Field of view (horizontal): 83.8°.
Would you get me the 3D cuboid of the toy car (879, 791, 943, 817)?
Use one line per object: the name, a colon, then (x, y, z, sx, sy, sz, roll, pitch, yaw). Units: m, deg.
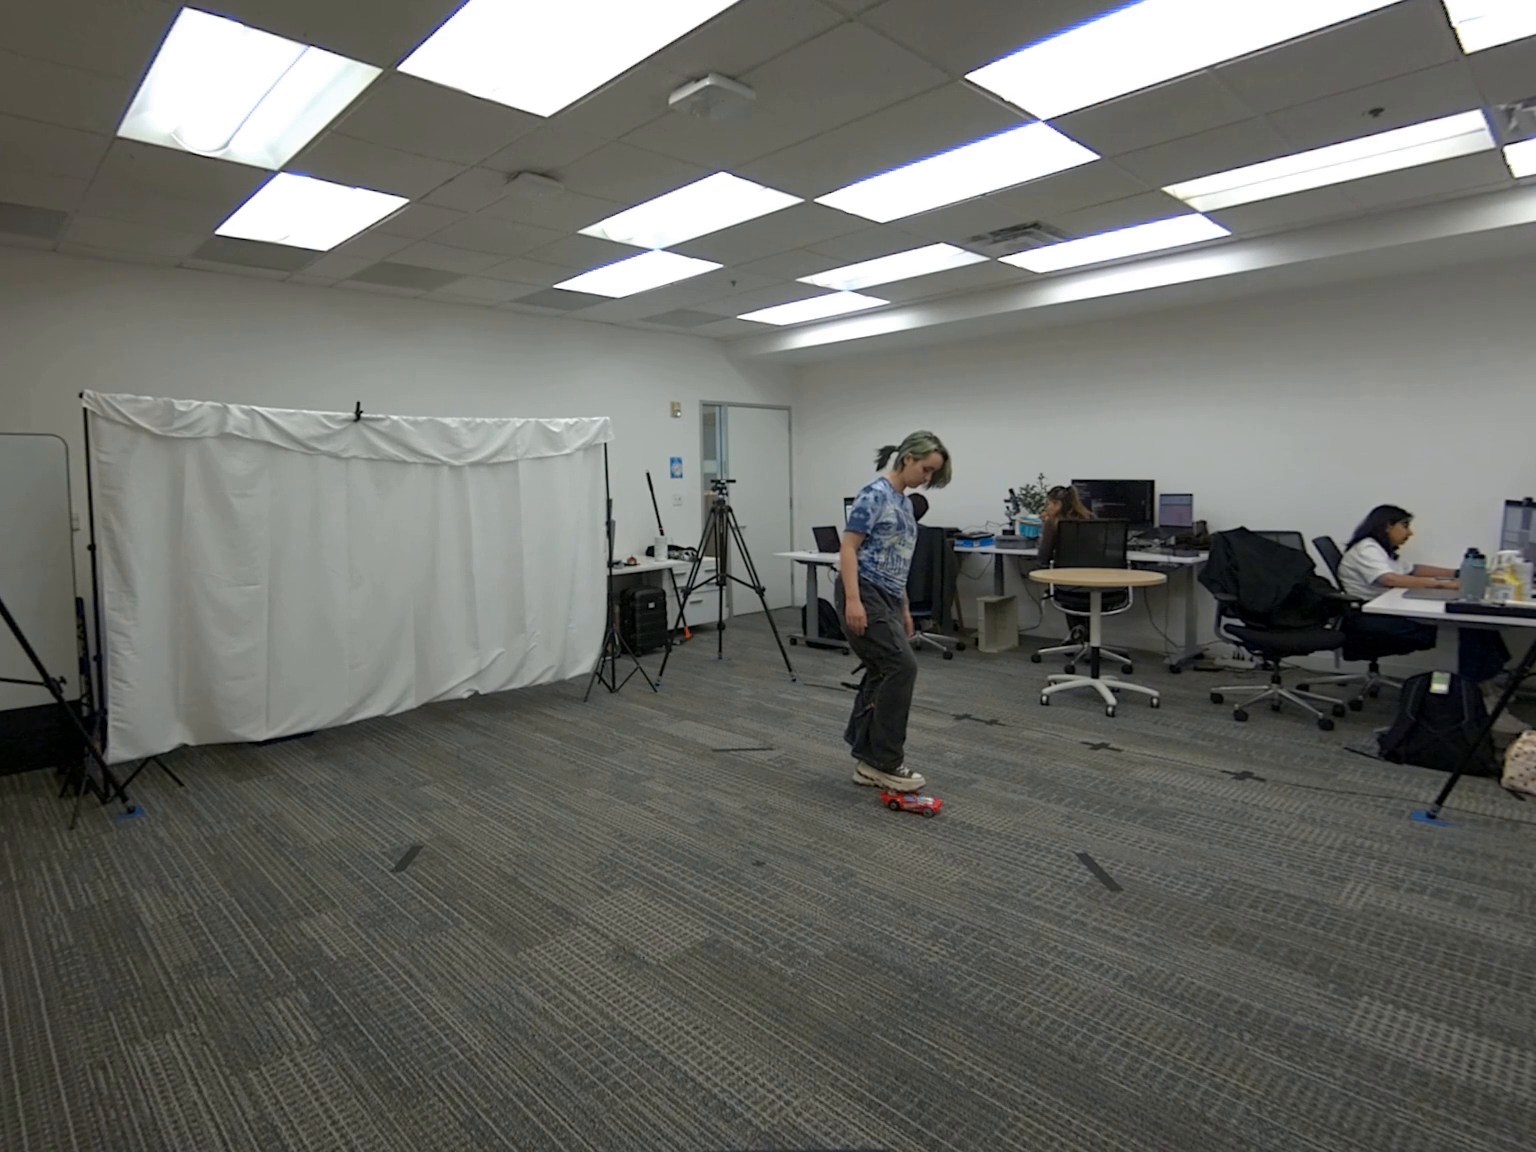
toy car: (0.599, 0.954, 3.607, 0.262, 0.082, 0.127, 14, 12, 30)
